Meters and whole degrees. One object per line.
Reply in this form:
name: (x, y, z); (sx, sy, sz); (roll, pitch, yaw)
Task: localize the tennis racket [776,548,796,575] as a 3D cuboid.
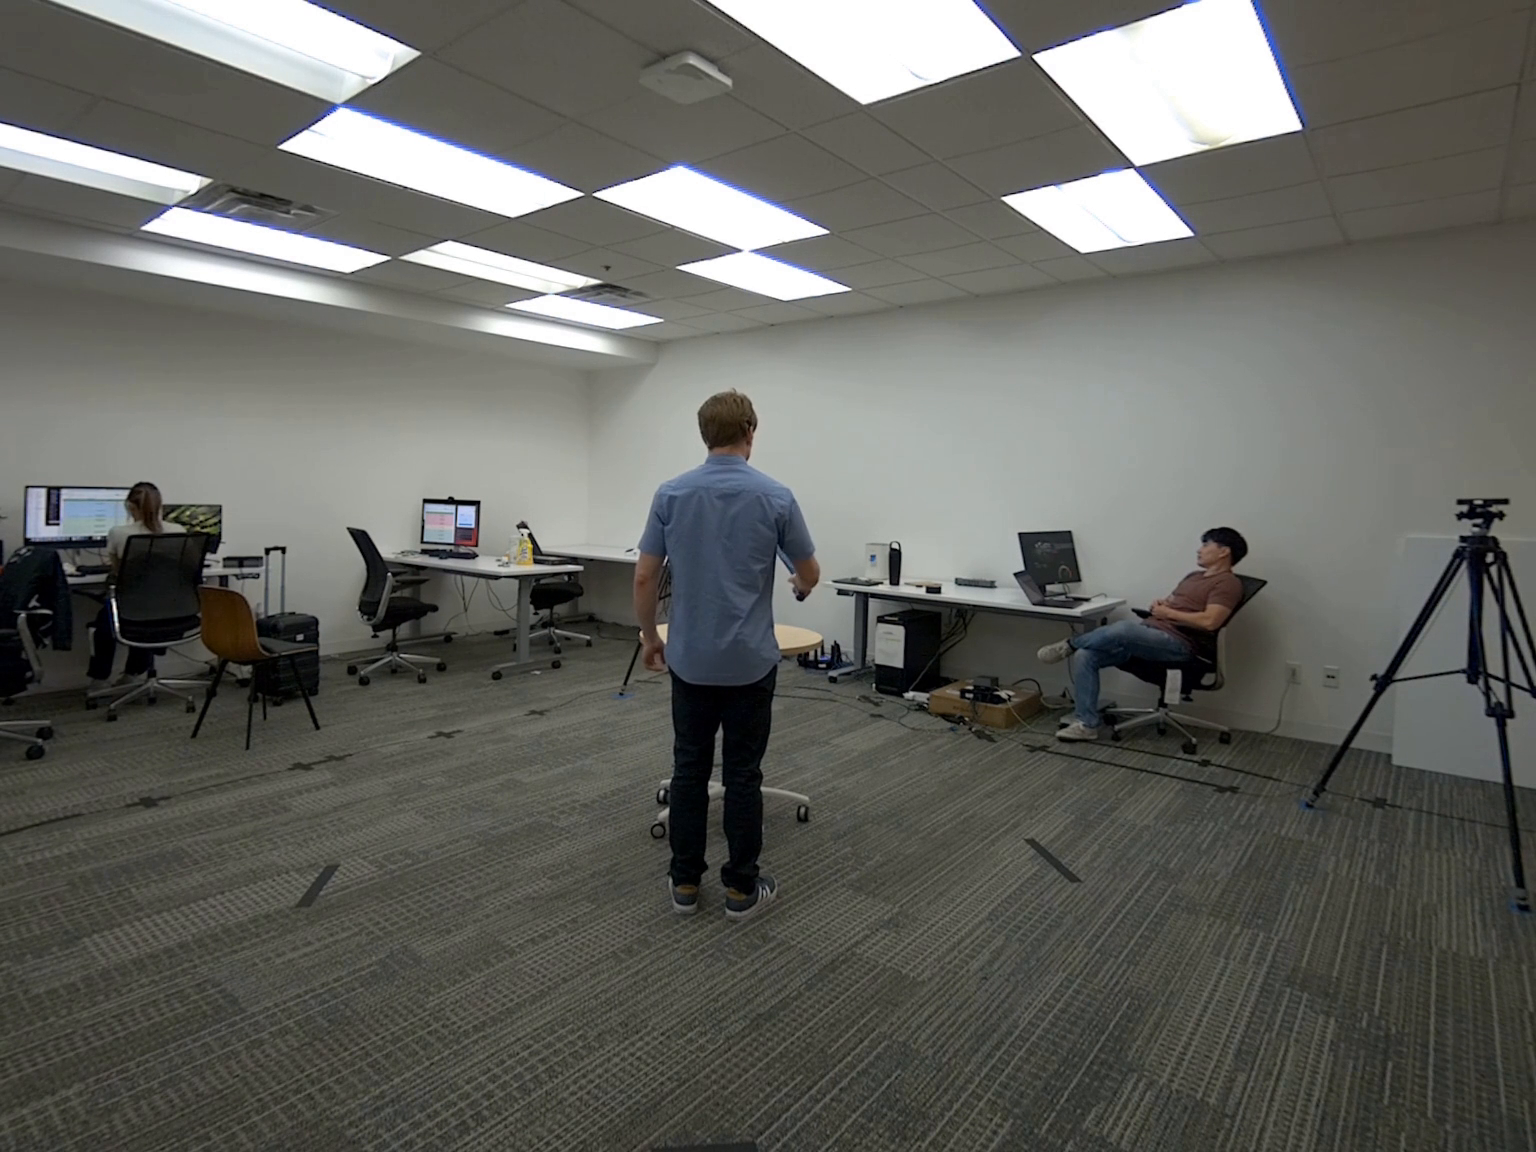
tennis racket: (0.100, -0.037, 3.348); (0.208, 0.032, 0.444); (36, 26, -21)
